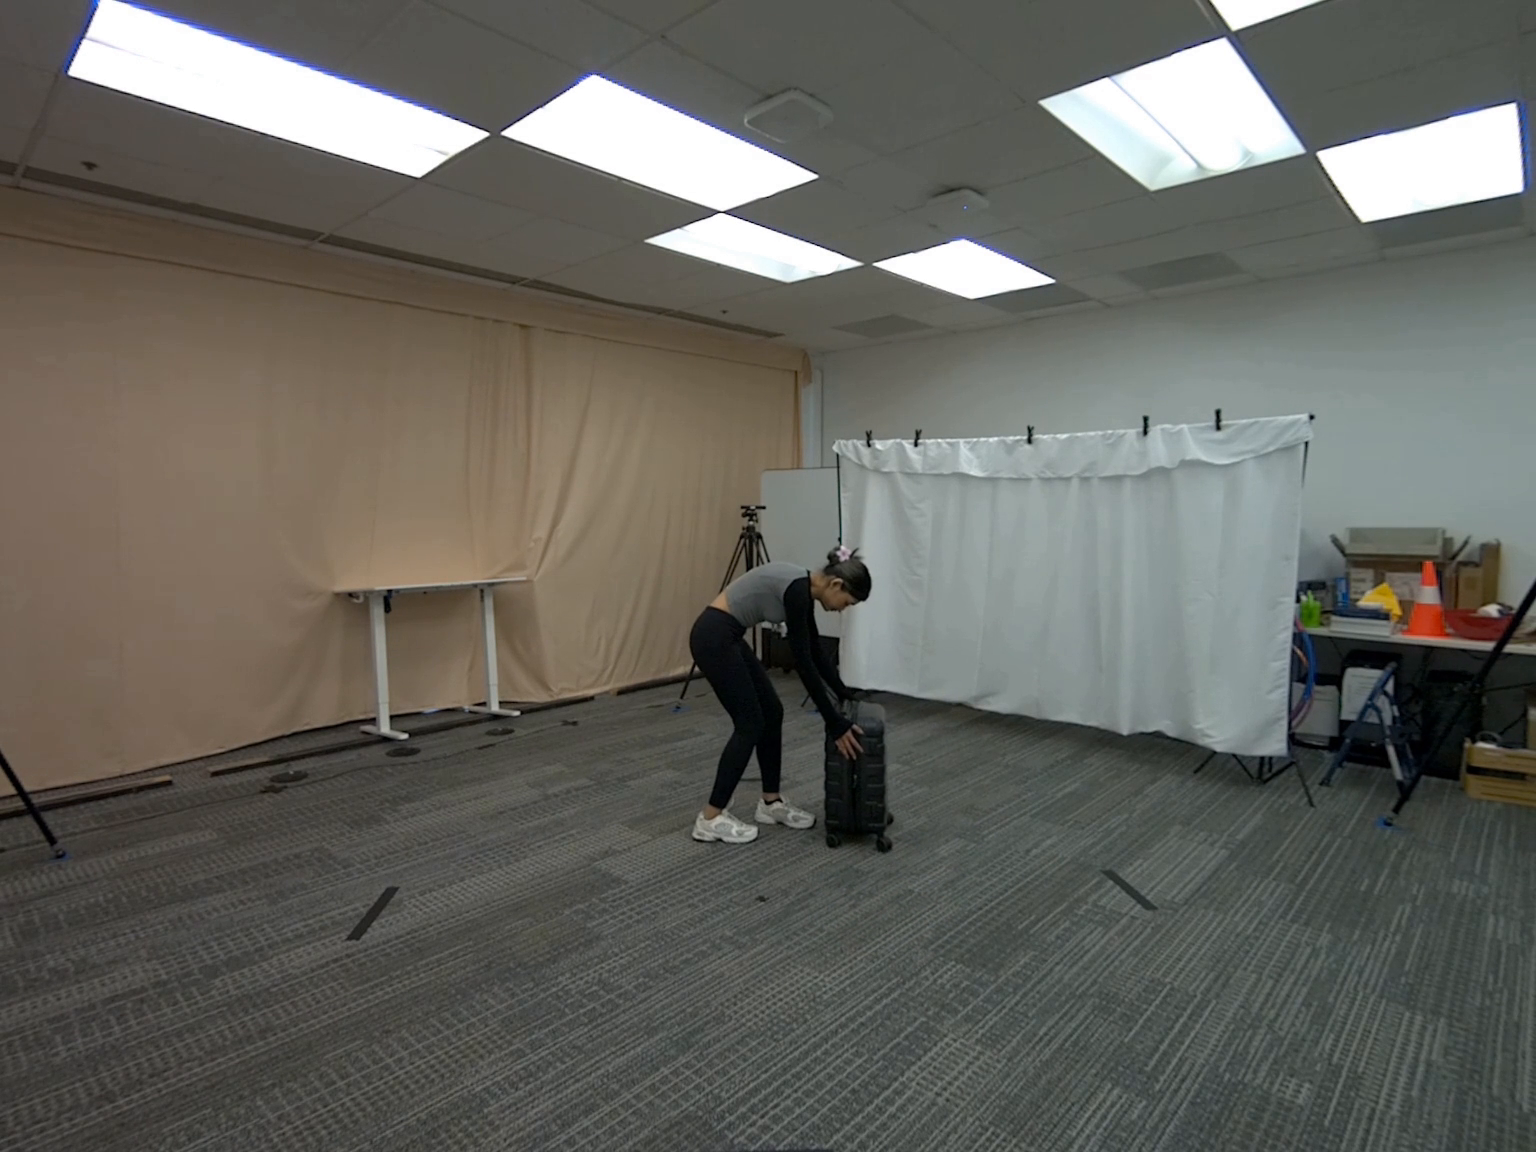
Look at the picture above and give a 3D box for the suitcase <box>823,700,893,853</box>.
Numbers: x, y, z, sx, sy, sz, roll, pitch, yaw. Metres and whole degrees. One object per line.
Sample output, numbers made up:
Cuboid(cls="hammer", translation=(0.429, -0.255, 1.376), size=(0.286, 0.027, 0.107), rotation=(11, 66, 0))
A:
Cuboid(cls="suitcase", translation=(0.378, 0.821, 3.563), size=(0.251, 0.549, 0.371), rotation=(0, 2, 10))
